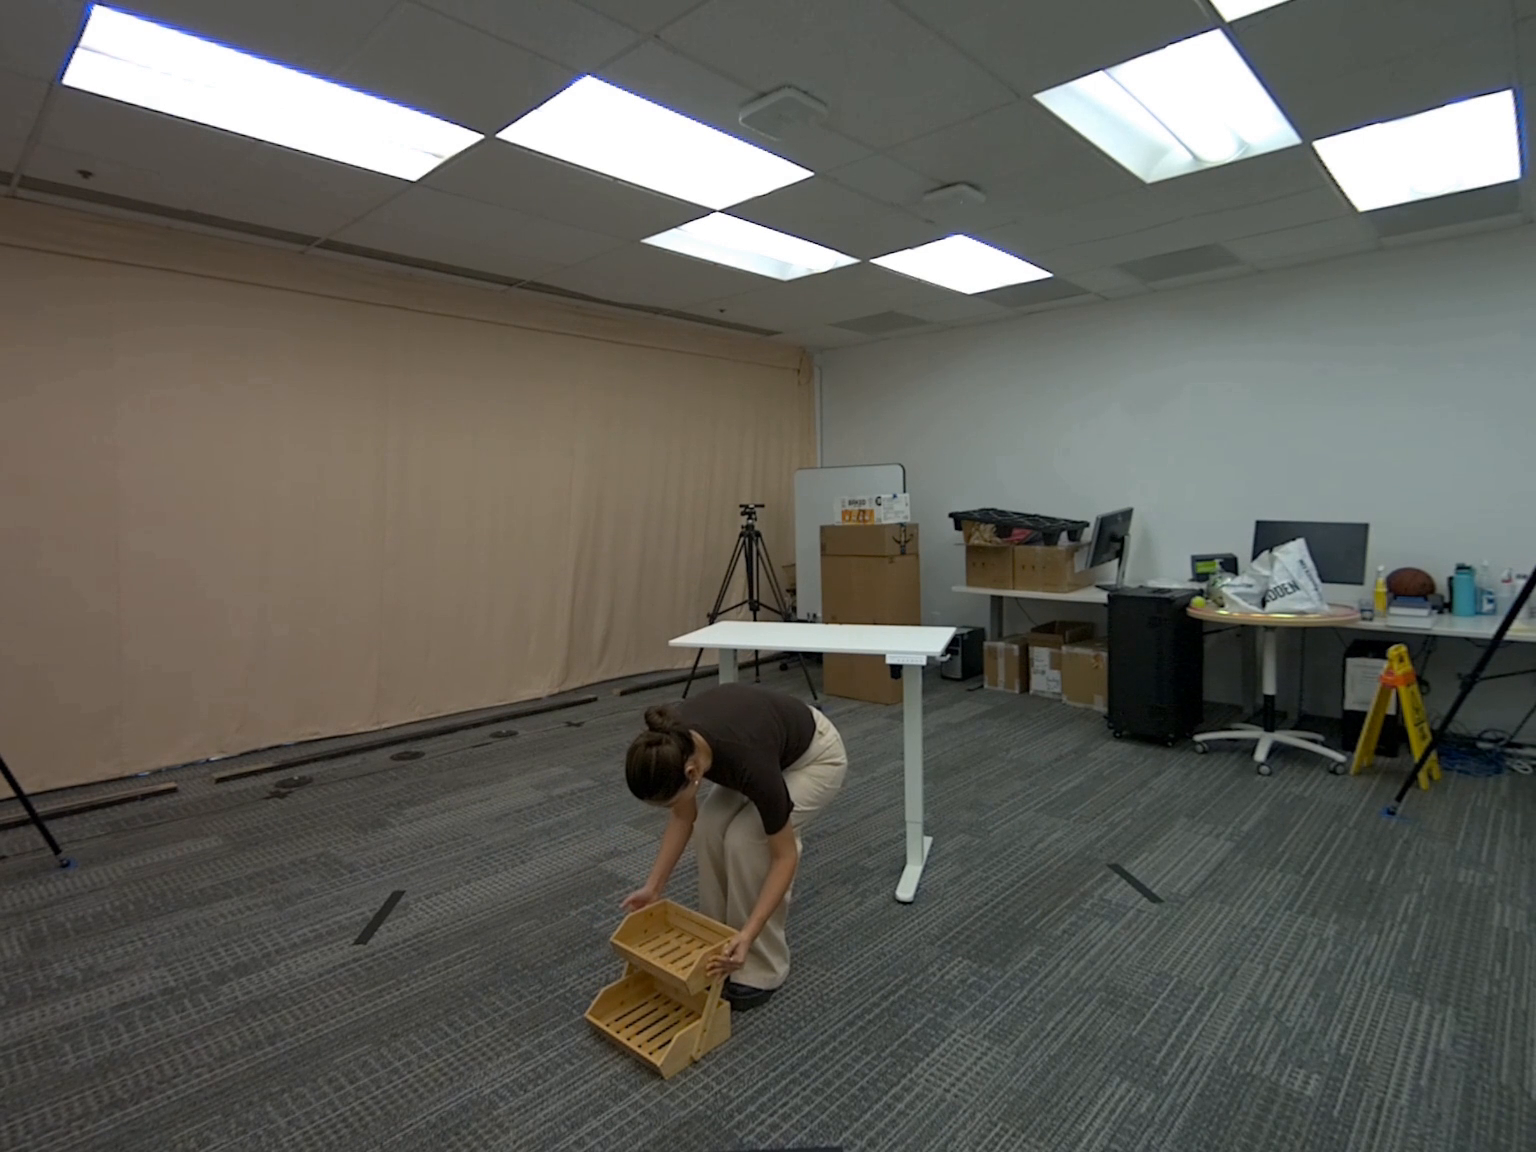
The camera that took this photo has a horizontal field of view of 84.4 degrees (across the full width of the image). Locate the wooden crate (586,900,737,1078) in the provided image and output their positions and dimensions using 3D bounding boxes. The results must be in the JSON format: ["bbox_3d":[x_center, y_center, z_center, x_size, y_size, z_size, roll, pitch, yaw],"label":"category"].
[{"bbox_3d":[-0.278,1.081,2.224,0.335,0.273,0.292,3,4,42],"label":"wooden crate"}]
